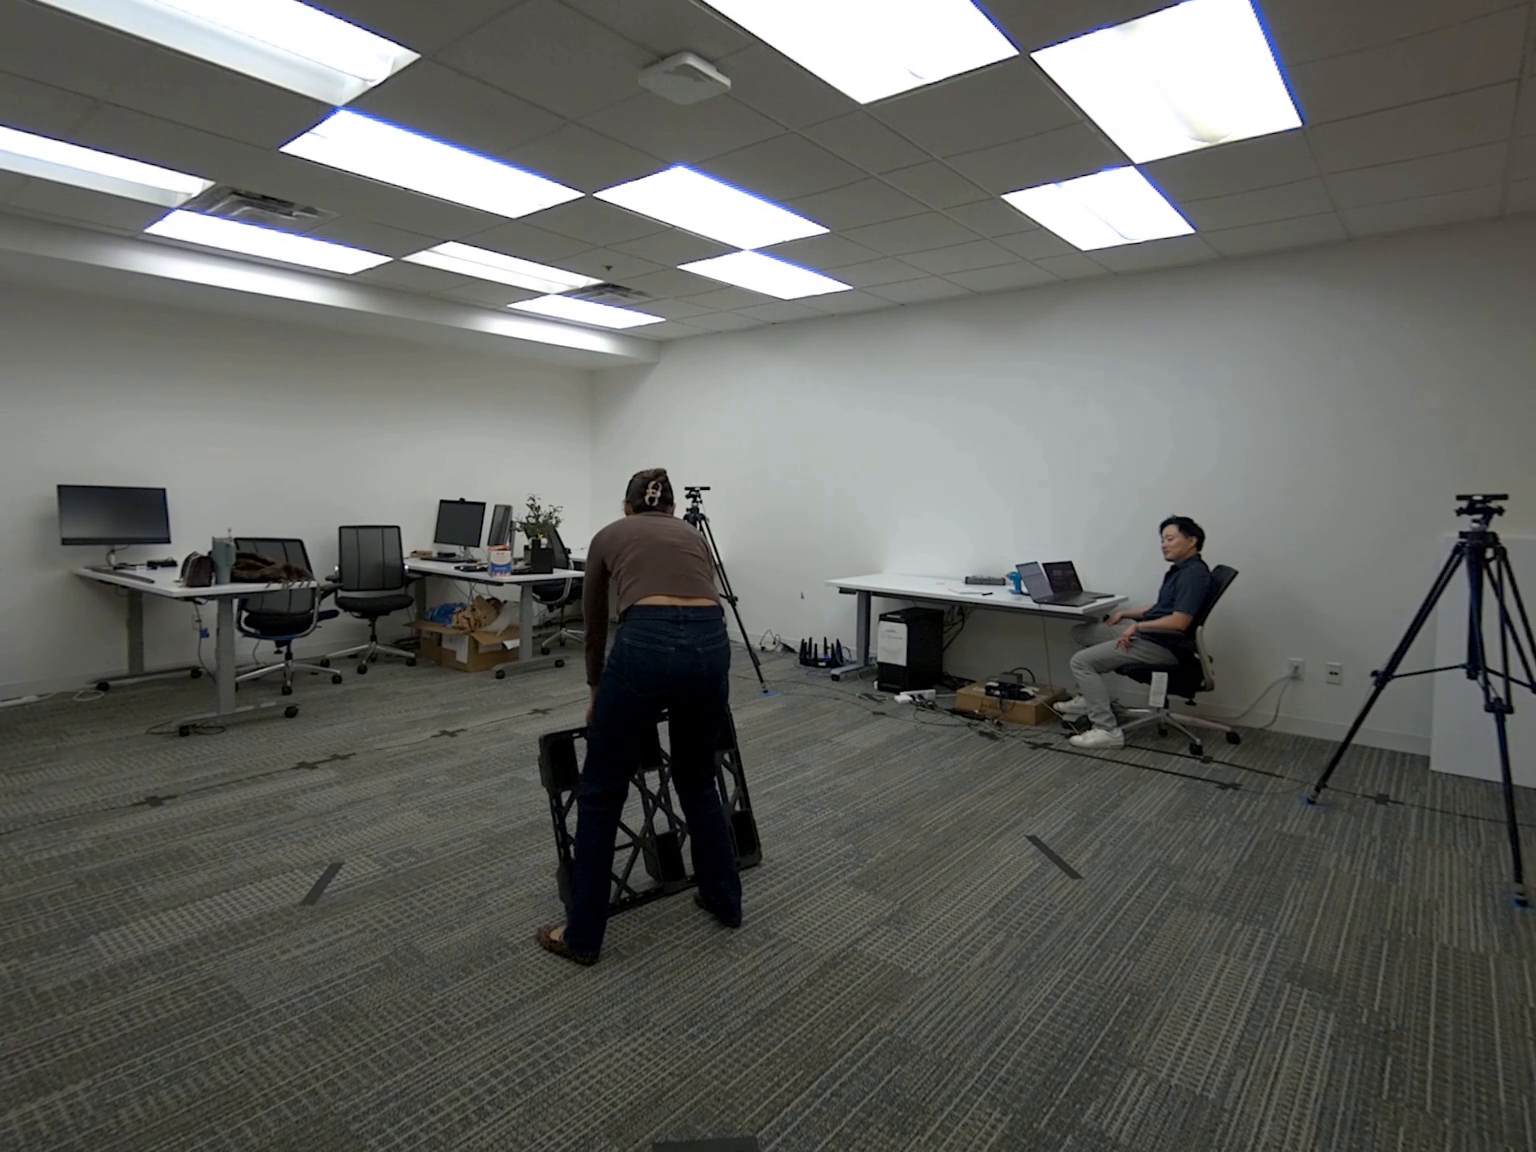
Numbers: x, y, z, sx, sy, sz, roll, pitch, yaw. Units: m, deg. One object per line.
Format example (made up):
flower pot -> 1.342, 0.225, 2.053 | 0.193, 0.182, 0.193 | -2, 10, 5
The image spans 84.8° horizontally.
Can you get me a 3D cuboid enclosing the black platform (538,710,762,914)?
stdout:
black platform -> -0.423, 0.805, 3.018 | 0.782, 0.614, 0.145 | -3, -15, -39
